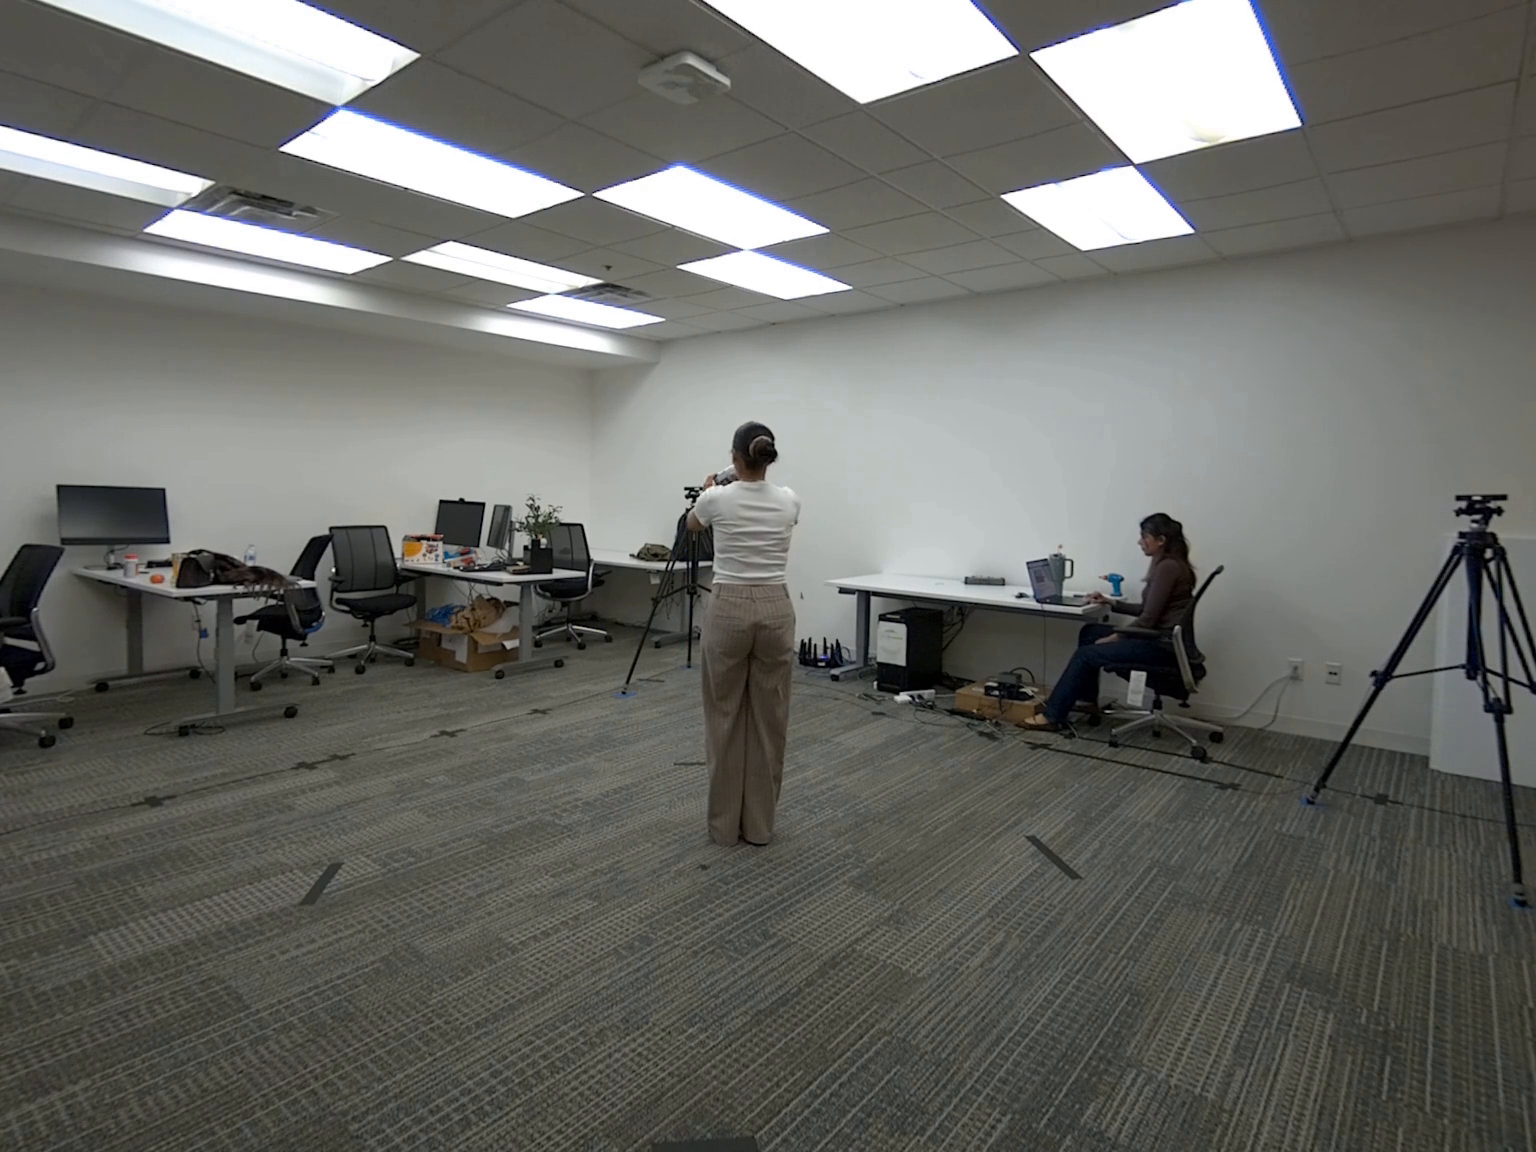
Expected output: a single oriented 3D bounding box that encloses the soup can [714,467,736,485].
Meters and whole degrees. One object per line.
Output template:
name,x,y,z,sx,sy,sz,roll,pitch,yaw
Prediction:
soup can,-0.179,-0.425,3.785,0.121,0.069,0.065,-47,-22,26
